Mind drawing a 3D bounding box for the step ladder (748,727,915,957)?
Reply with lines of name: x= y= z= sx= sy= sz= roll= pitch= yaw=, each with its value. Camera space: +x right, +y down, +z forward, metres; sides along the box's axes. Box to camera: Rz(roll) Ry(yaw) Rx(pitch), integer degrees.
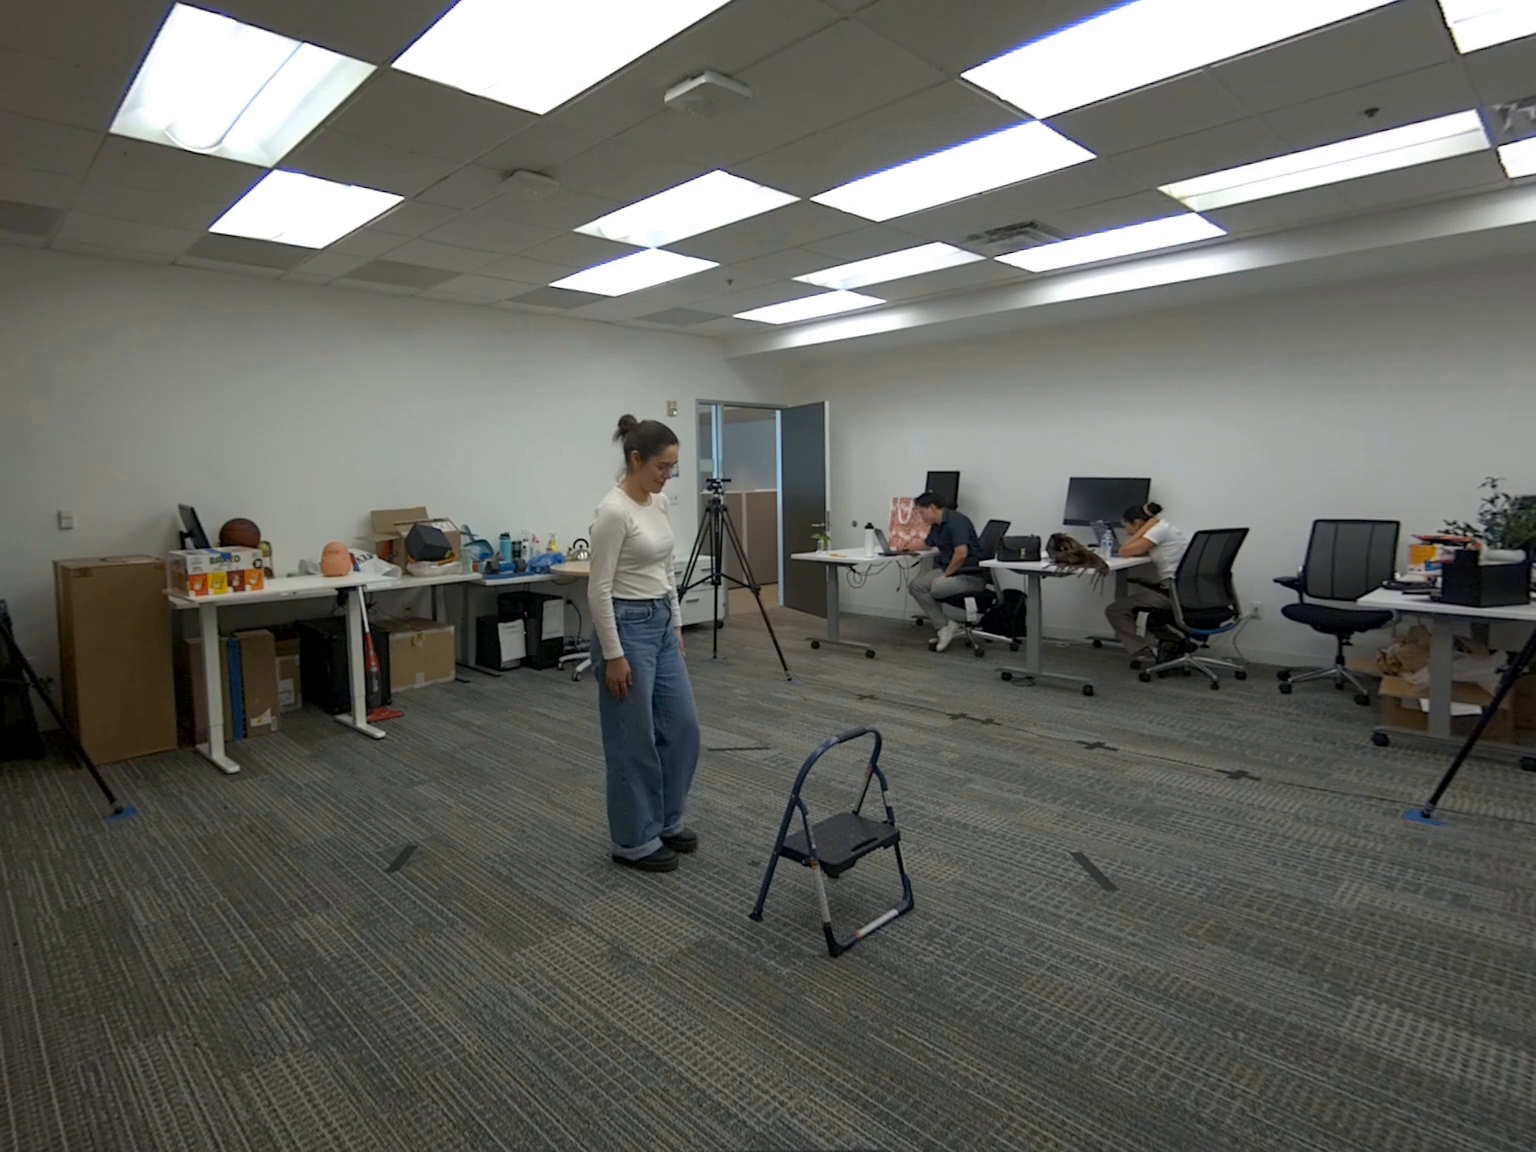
step ladder: x=0.205 y=0.780 z=2.728 sx=0.360 sy=0.604 sz=0.419 roll=3 pitch=6 yaw=44
